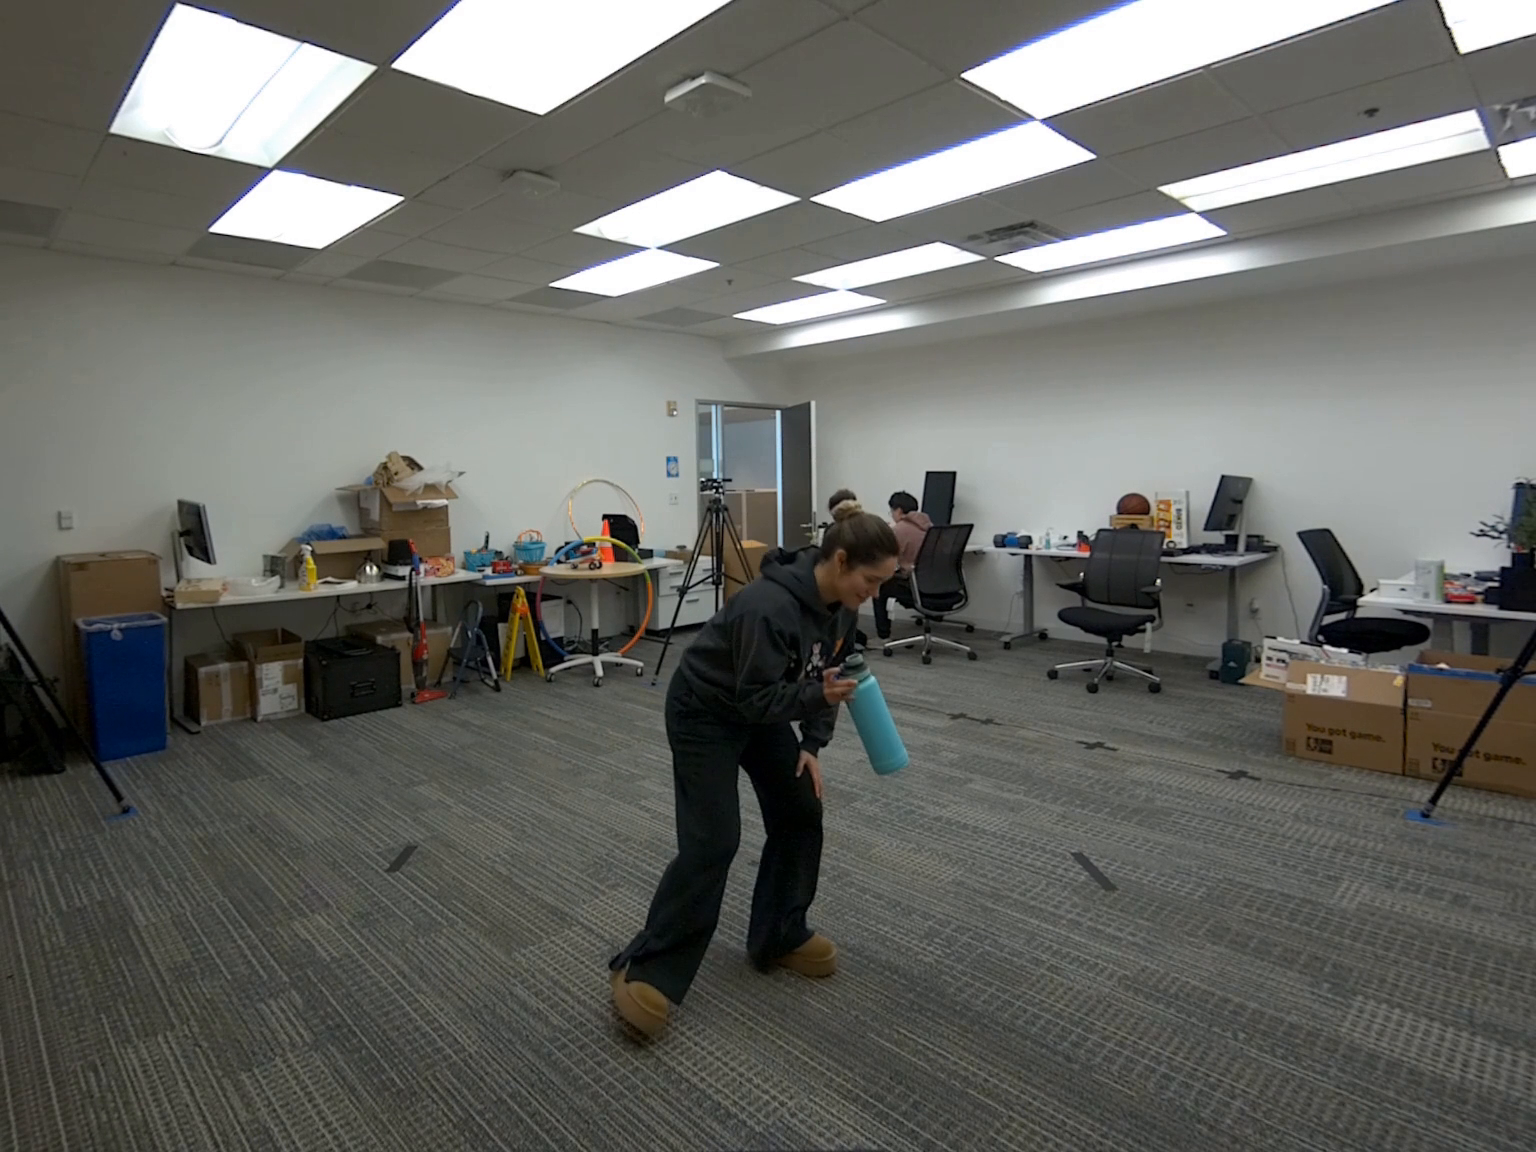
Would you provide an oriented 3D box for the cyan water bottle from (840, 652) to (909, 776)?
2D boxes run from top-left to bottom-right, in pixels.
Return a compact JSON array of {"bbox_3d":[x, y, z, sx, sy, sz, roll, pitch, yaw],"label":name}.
[{"bbox_3d":[0.232,0.332,2.043,0.092,0.282,0.093,-20,5,1],"label":"cyan water bottle"}]
